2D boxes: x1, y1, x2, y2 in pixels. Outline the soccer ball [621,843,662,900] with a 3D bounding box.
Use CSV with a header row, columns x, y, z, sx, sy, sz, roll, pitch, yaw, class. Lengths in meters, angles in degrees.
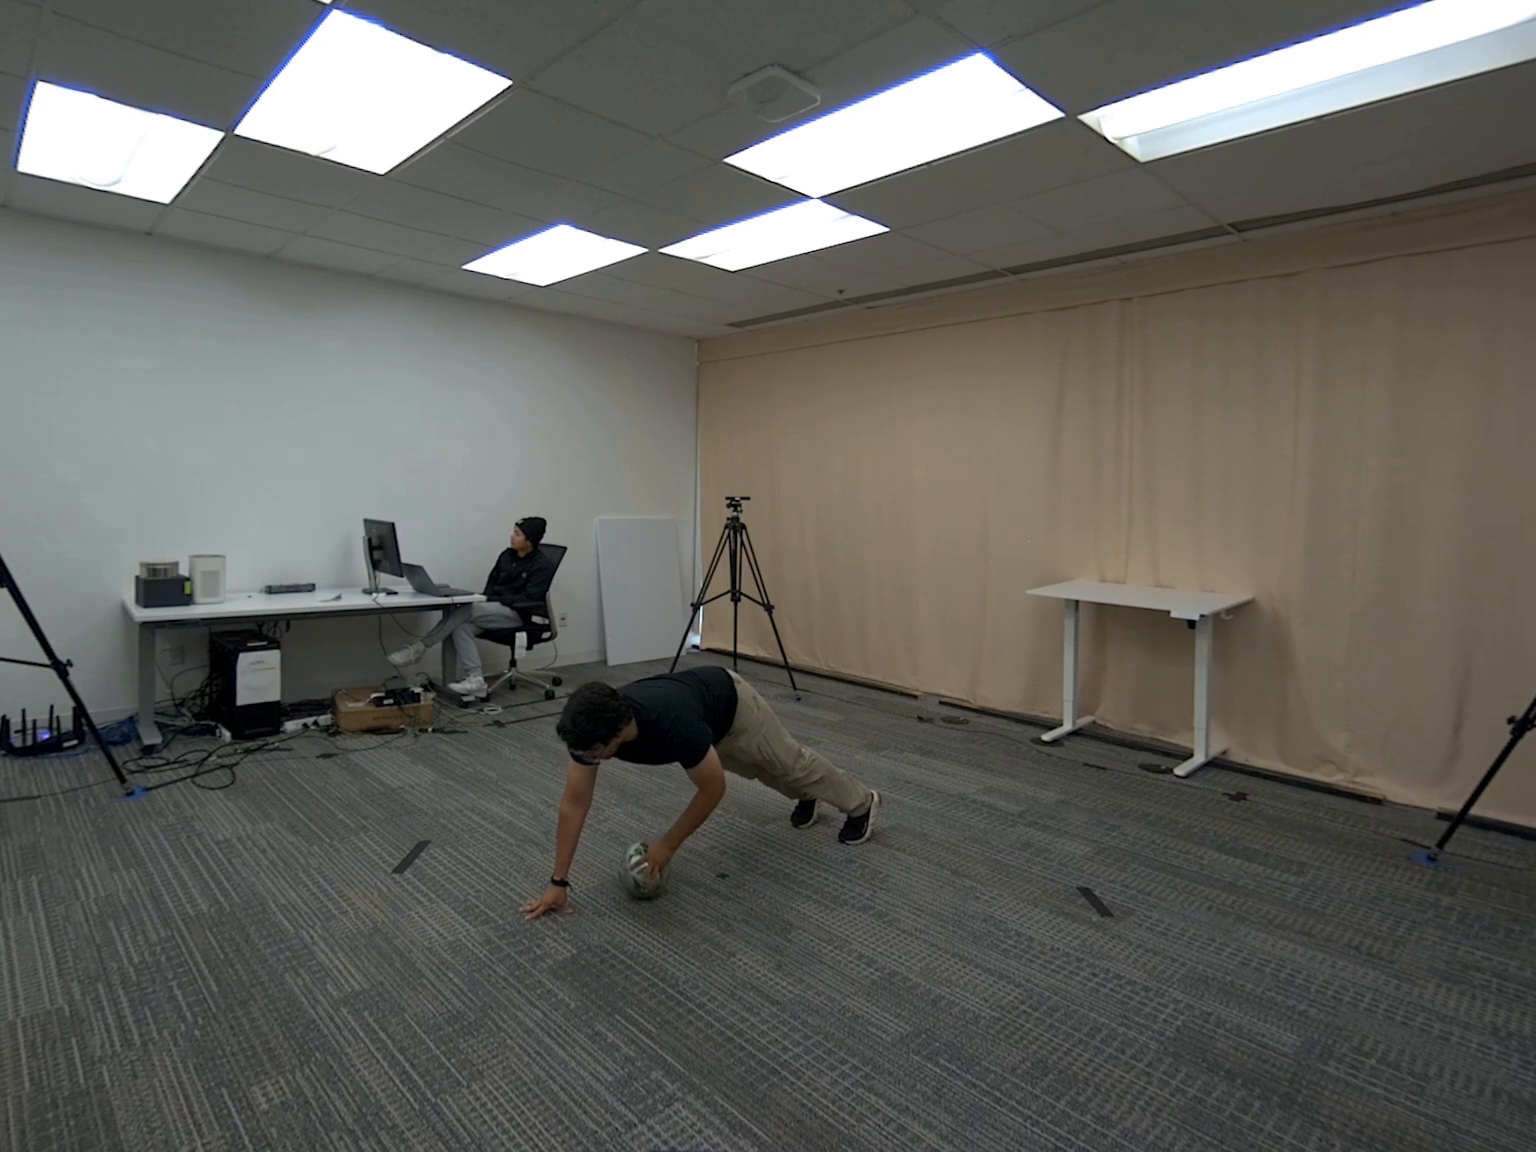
x,y,z,sx,sy,sz,roll,pitch,yaw,class
-0.429,1.024,2.924,0.187,0.187,0.188,1,4,-1,soccer ball
